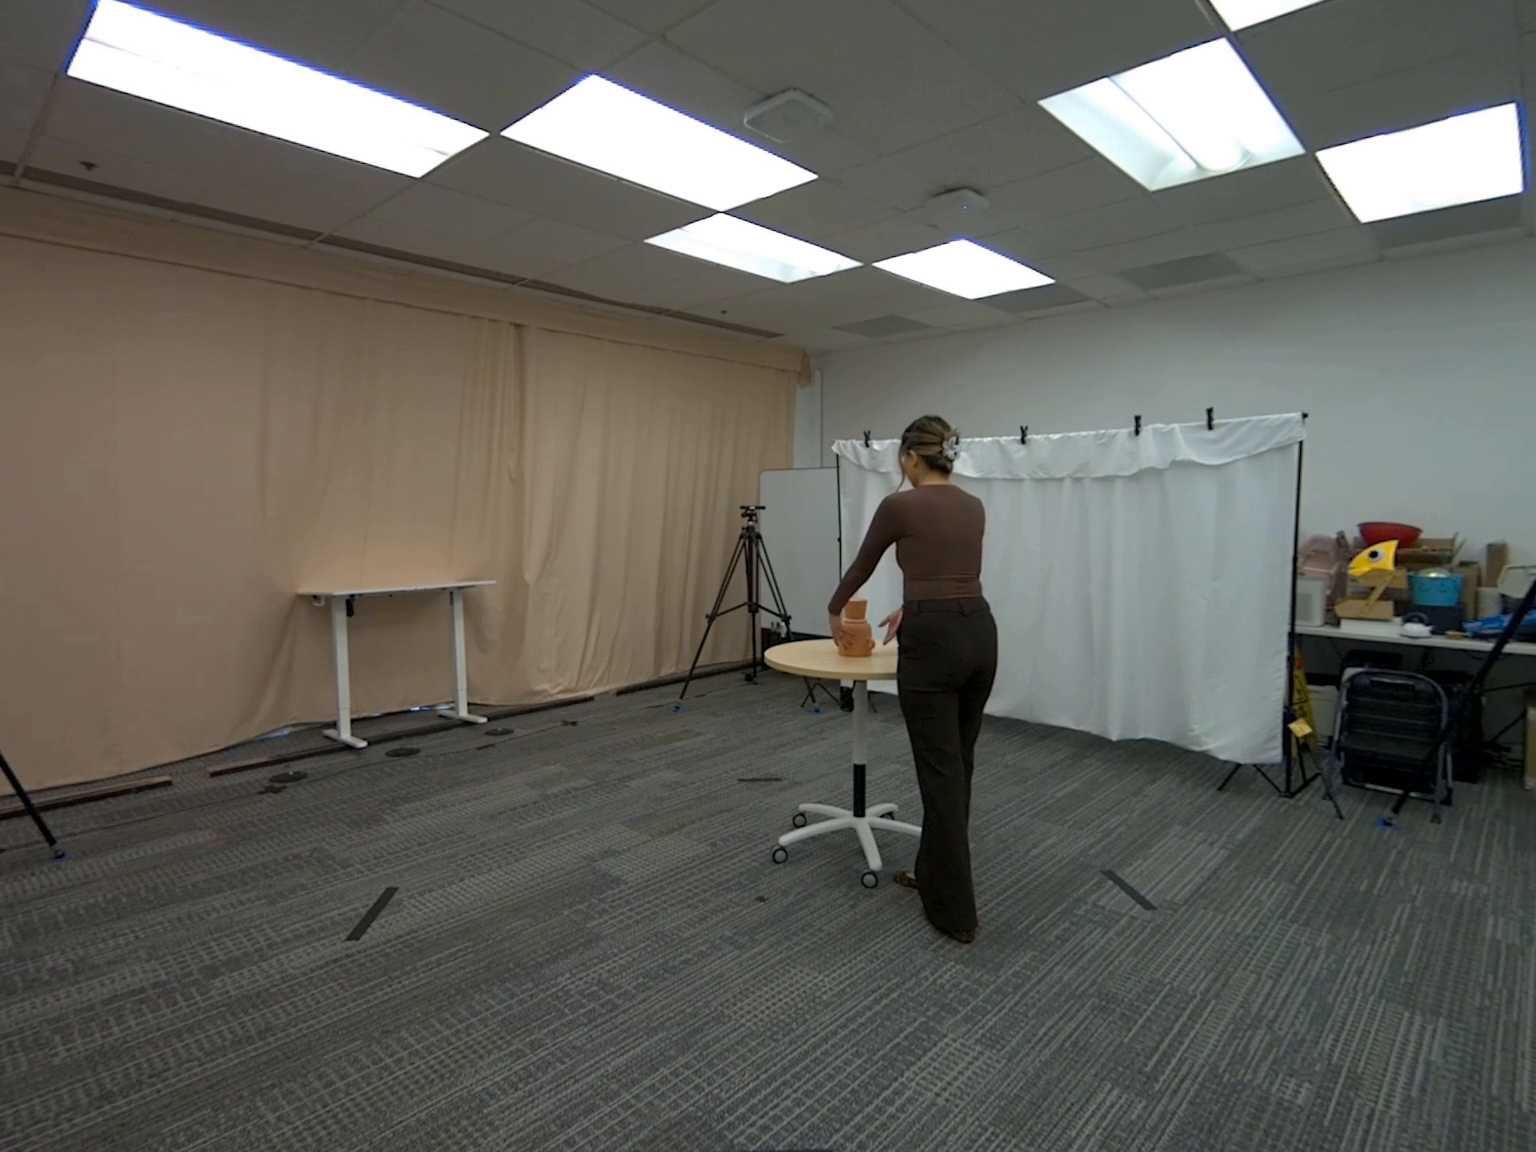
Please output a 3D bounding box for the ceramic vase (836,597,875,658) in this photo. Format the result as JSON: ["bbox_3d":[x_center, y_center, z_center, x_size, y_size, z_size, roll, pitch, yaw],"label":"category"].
[{"bbox_3d":[0.356,0.203,3.366,0.160,0.219,0.133,0,2,9],"label":"ceramic vase"}]
